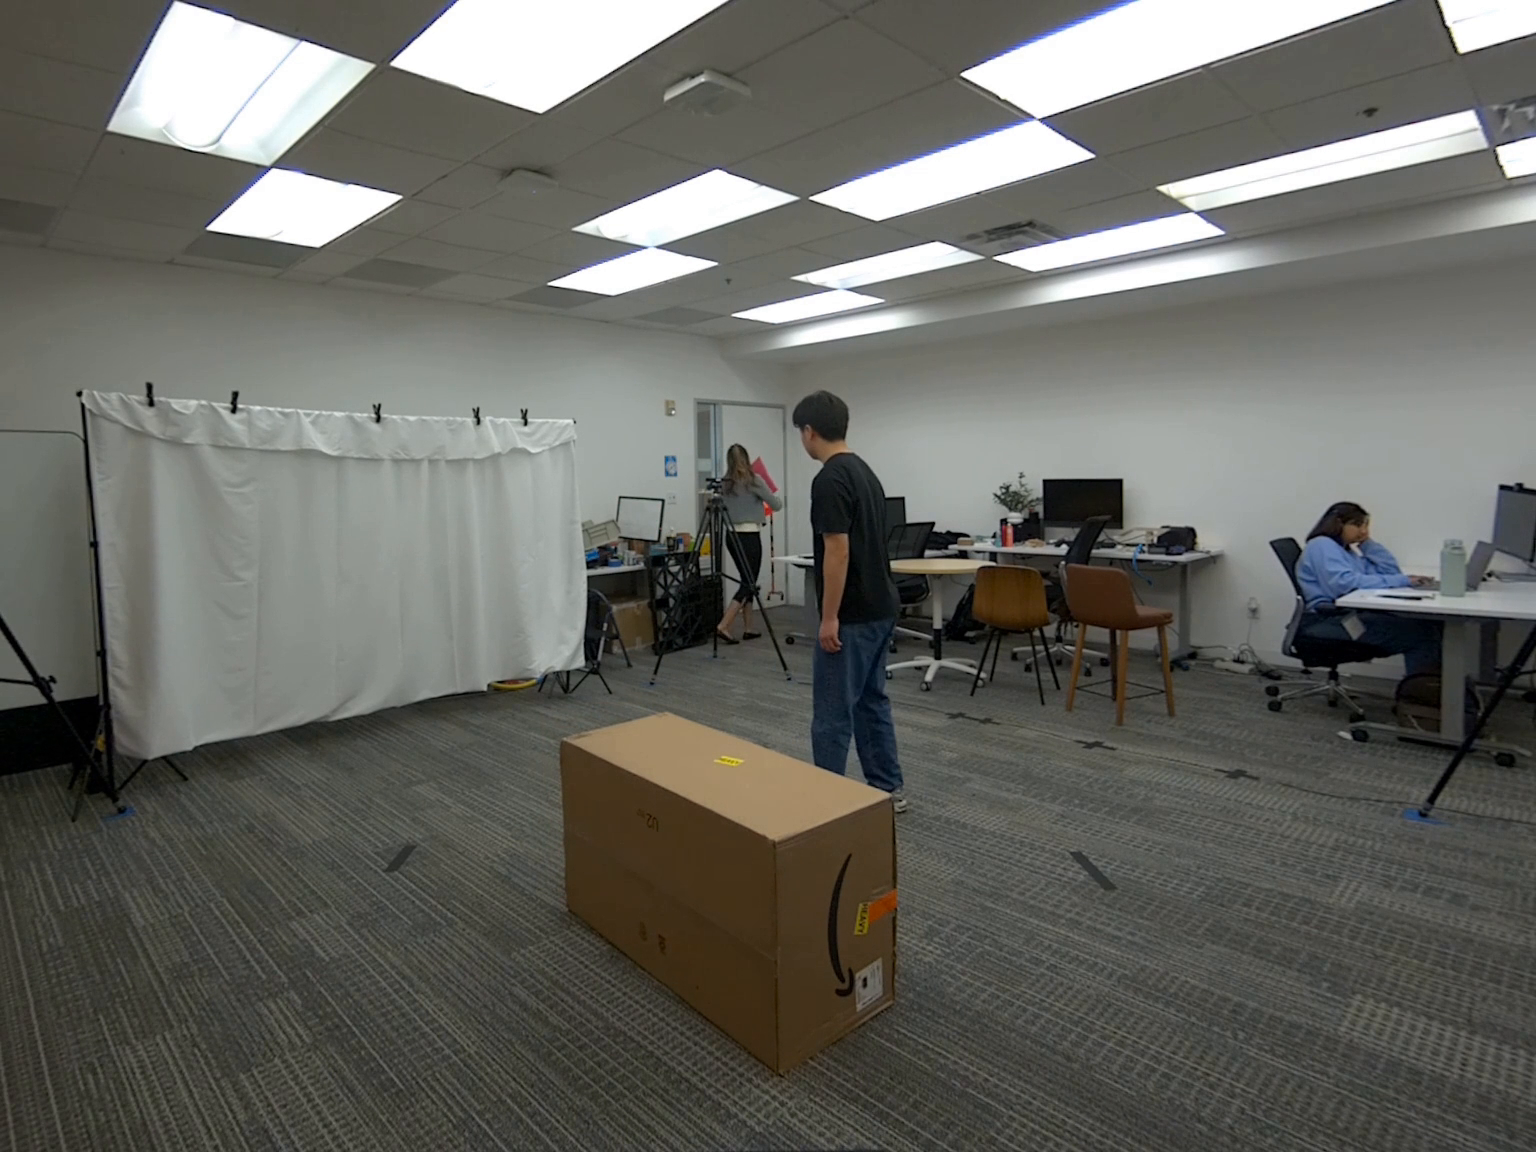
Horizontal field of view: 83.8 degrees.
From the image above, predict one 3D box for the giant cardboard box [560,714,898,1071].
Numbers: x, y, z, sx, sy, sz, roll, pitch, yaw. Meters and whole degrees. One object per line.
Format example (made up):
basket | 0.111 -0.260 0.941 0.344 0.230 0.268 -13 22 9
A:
giant cardboard box | -0.159 0.830 2.504 0.435 0.581 1.059 -4 7 -41
